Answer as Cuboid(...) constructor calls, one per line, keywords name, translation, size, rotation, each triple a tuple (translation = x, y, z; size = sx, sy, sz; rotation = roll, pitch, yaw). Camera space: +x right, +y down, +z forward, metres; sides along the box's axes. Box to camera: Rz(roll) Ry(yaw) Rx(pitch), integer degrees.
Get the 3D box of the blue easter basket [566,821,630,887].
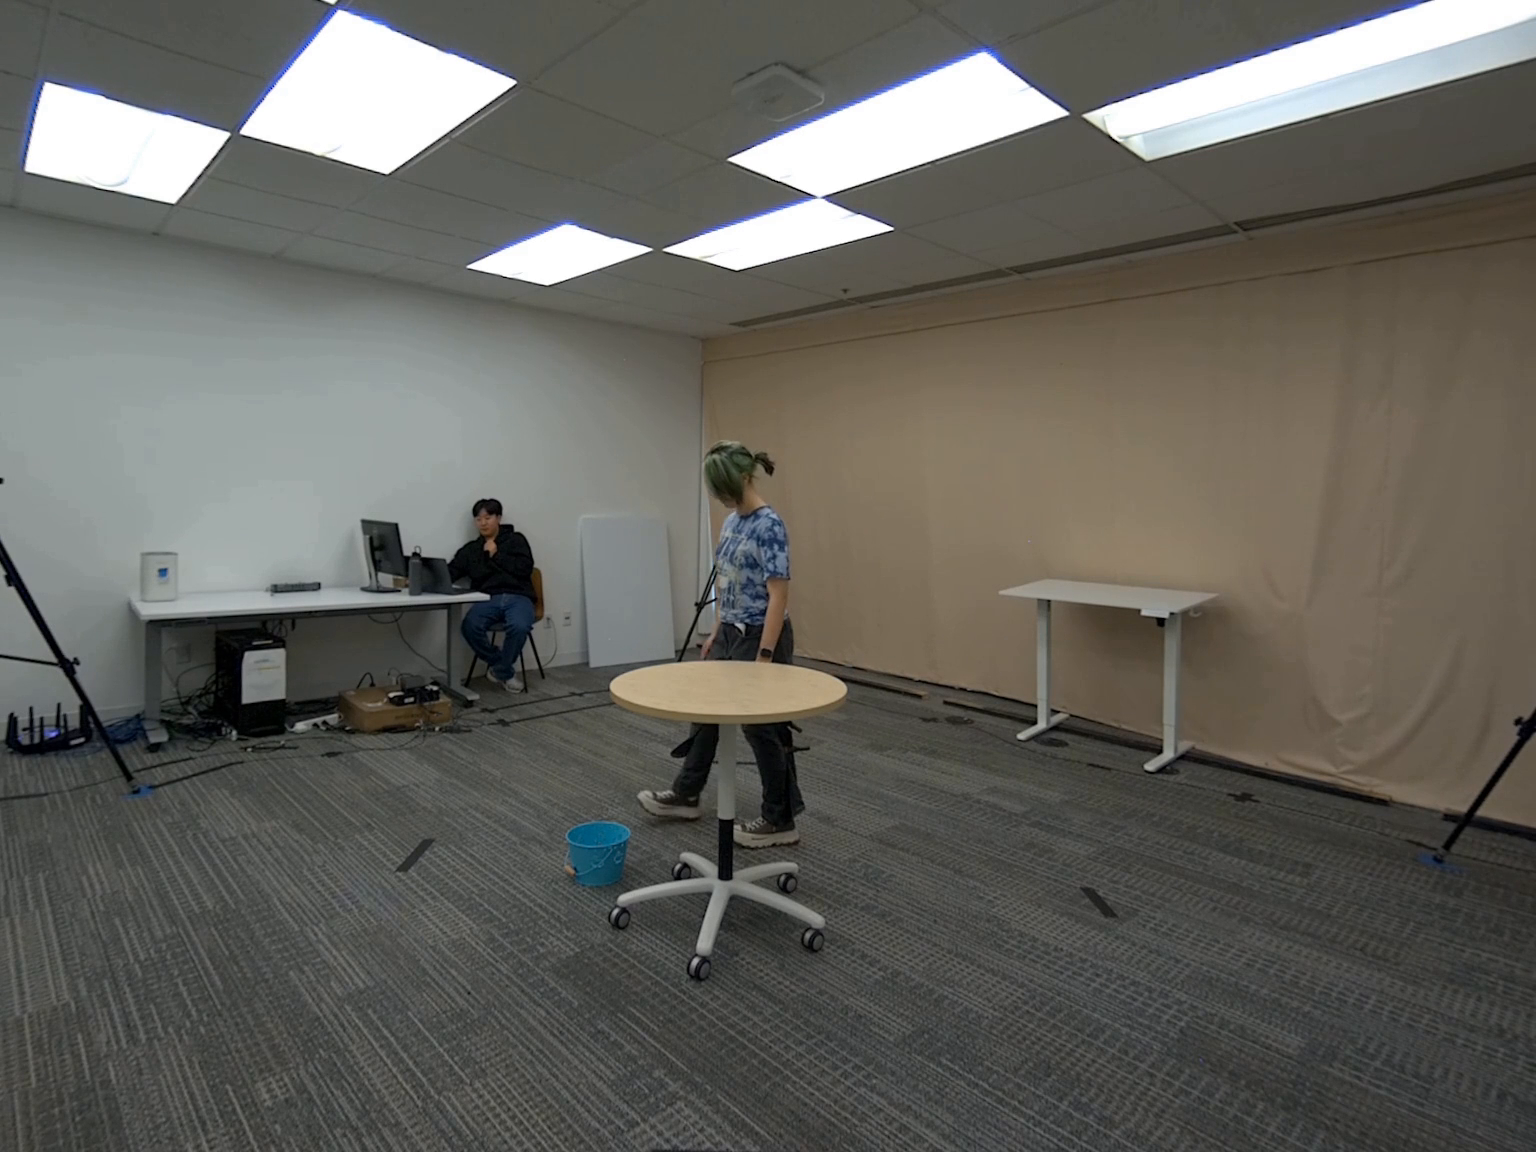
Cuboid(name="blue easter basket", translation=(-0.636, 1.018, 3.081), size=(0.243, 0.155, 0.244), rotation=(2, 5, -2))
